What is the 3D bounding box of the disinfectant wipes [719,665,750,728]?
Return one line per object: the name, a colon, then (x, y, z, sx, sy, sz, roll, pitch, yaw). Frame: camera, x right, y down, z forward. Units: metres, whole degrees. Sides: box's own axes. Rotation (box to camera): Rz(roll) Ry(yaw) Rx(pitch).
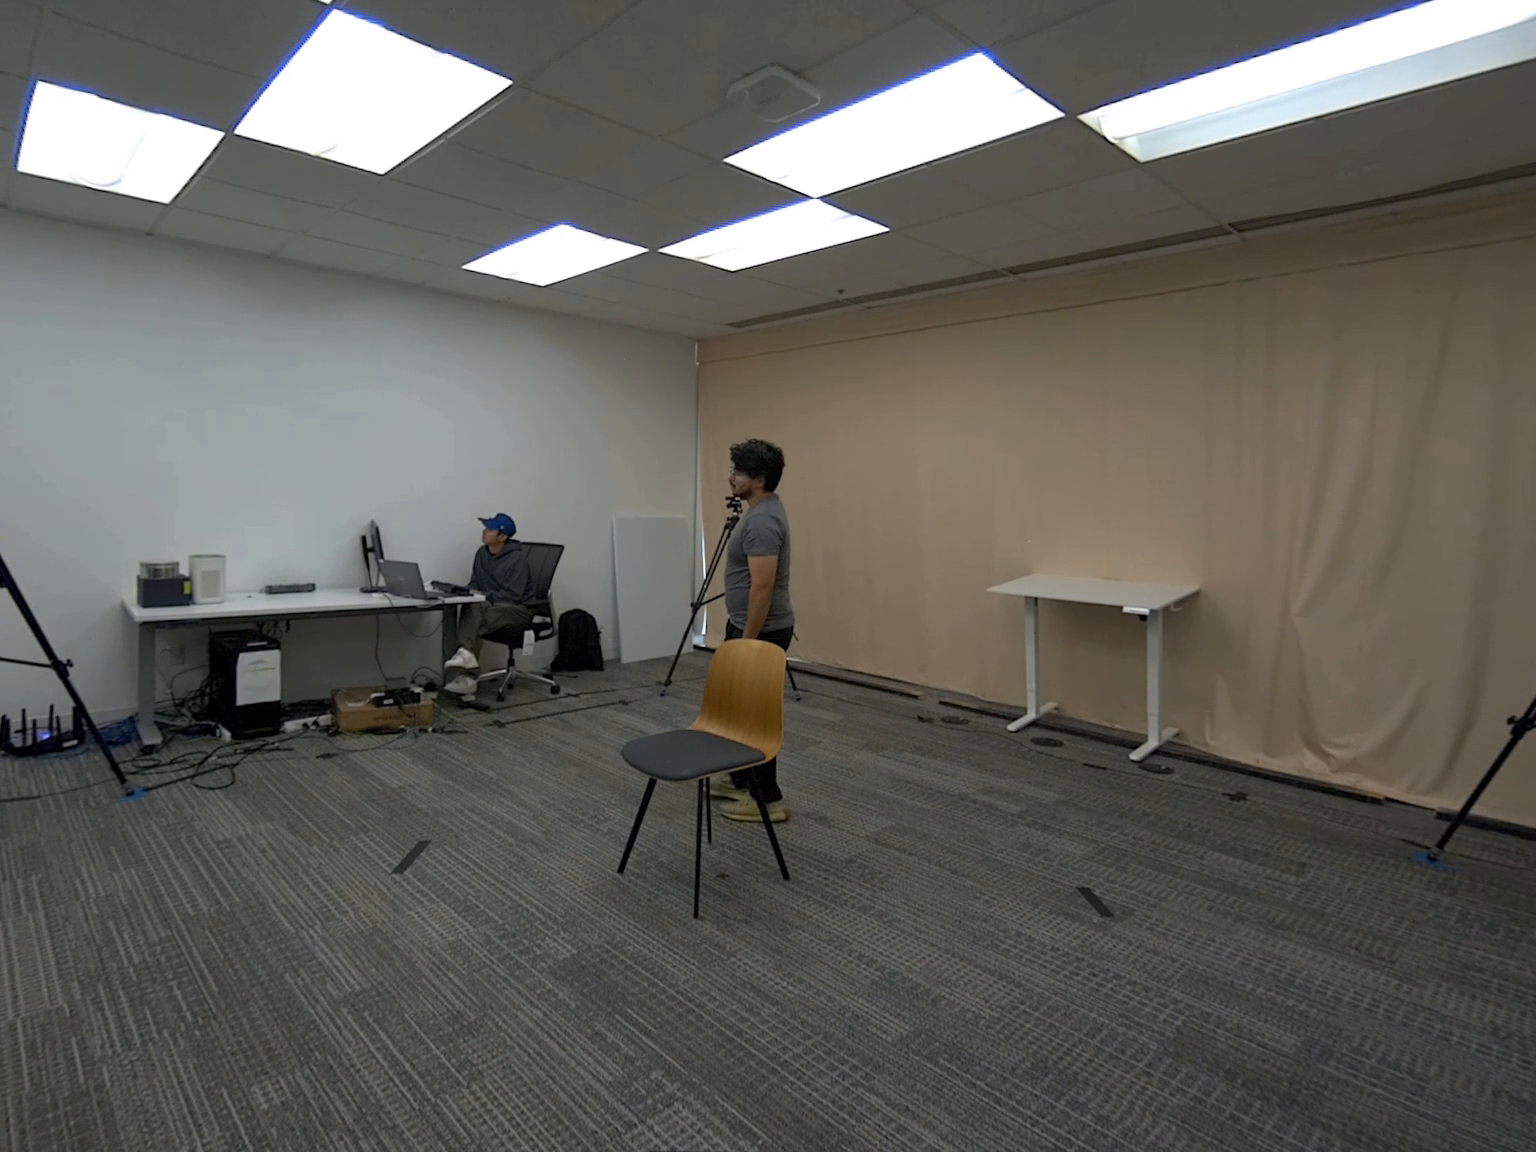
disinfectant wipes: (-0.140, 0.488, 3.447, 0.118, 0.216, 0.118, 1, 9, -2)
